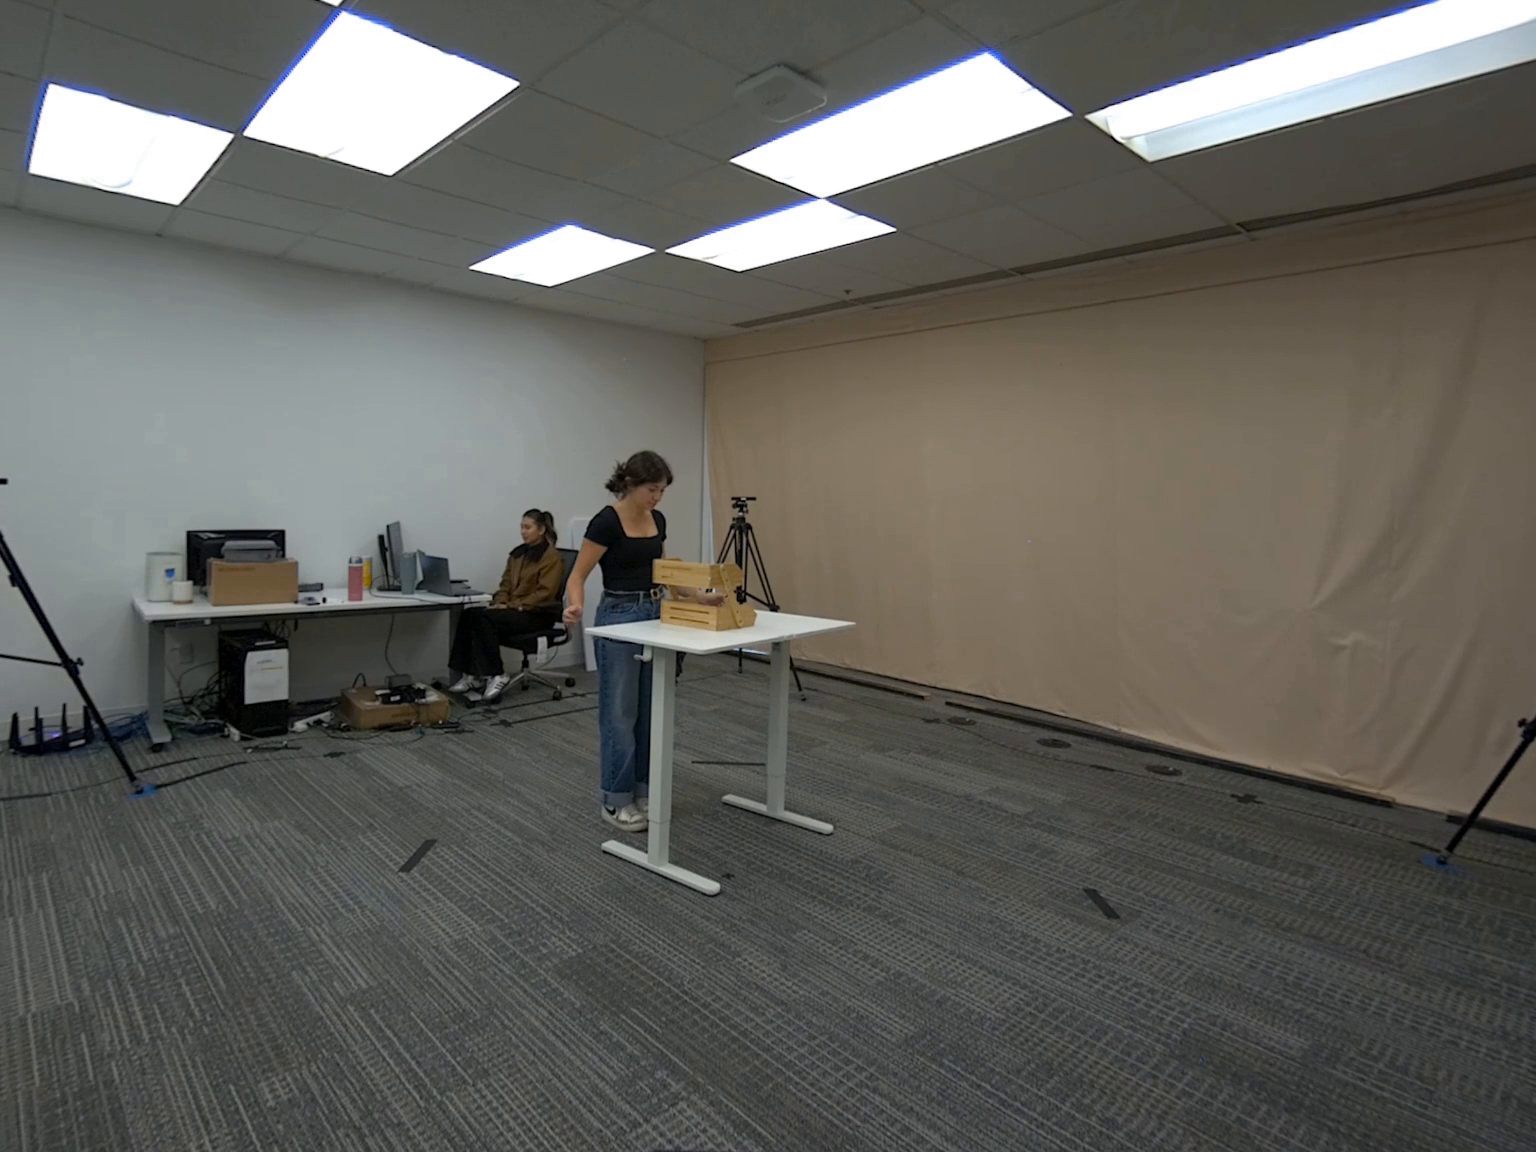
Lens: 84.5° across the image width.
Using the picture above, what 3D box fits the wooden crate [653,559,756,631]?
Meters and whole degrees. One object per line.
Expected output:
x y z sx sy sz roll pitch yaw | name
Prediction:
-0.258 0.063 3.388 0.332 0.272 0.295 5 6 37 | wooden crate
